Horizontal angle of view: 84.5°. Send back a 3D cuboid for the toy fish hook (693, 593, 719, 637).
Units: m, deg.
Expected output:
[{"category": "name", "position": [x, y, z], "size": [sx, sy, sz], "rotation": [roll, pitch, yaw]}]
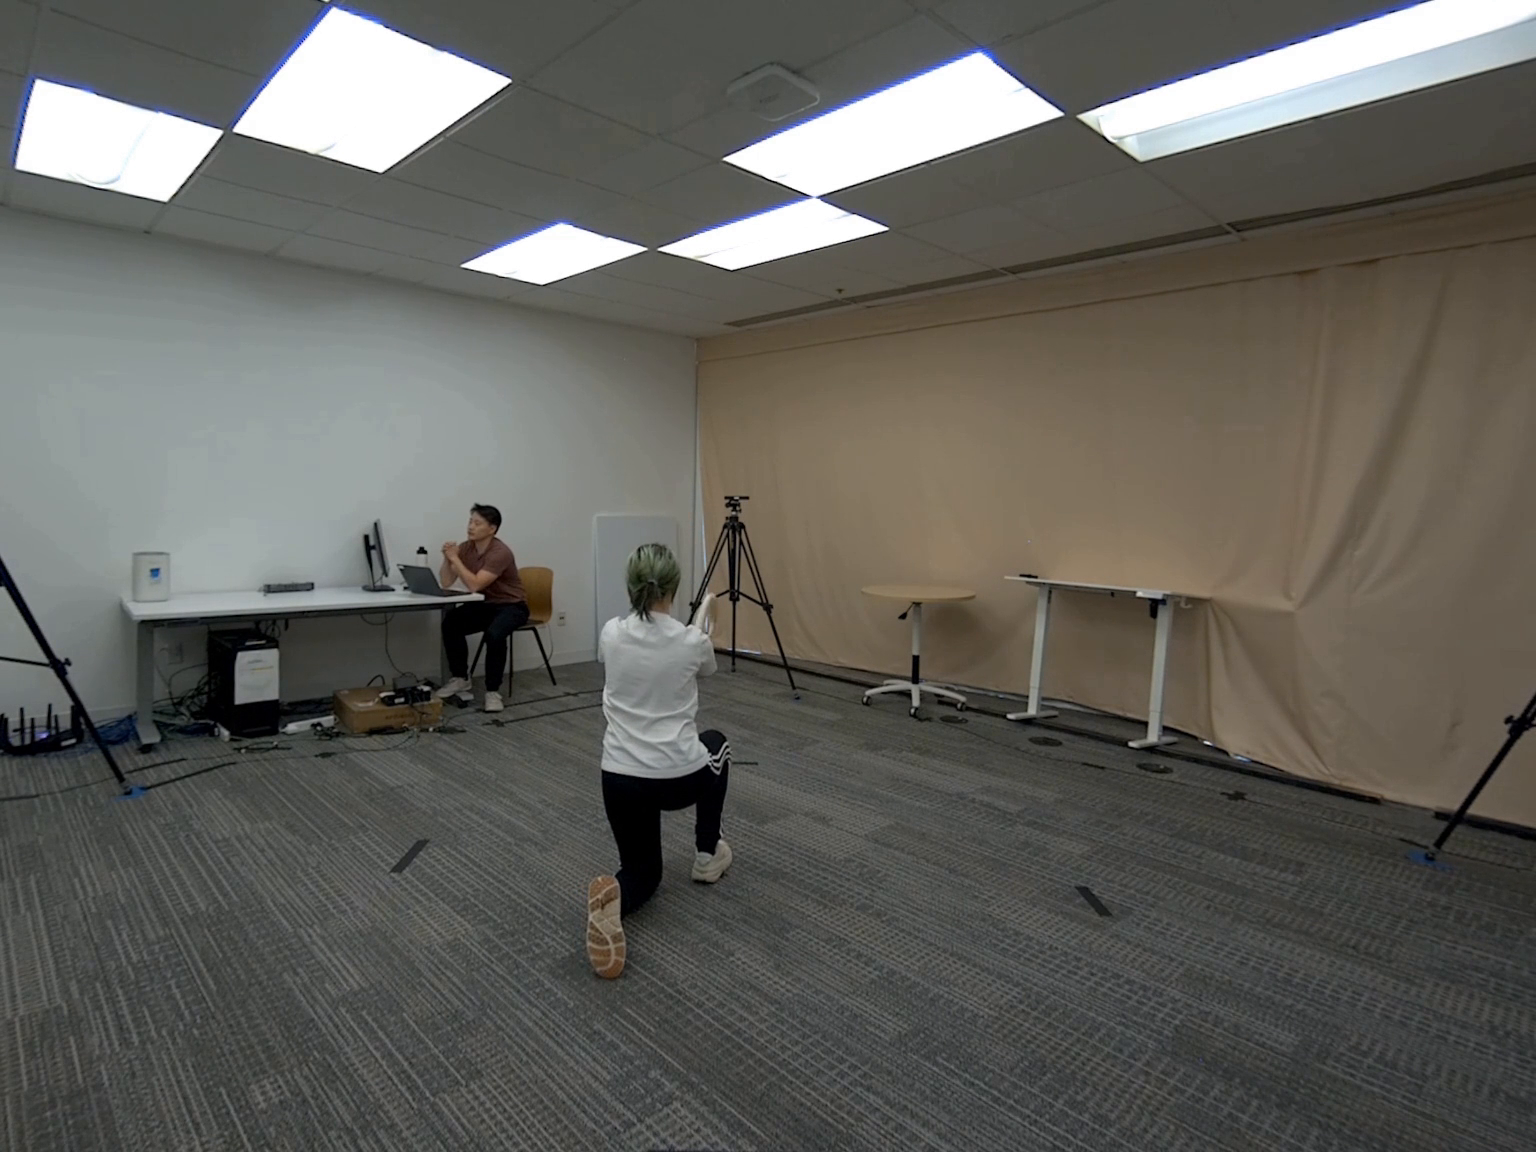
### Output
[{"category": "toy fish hook", "position": [-0.309, 0.292, 3.599], "size": [0.049, 0.219, 0.511], "rotation": [7, 46, 18]}]
